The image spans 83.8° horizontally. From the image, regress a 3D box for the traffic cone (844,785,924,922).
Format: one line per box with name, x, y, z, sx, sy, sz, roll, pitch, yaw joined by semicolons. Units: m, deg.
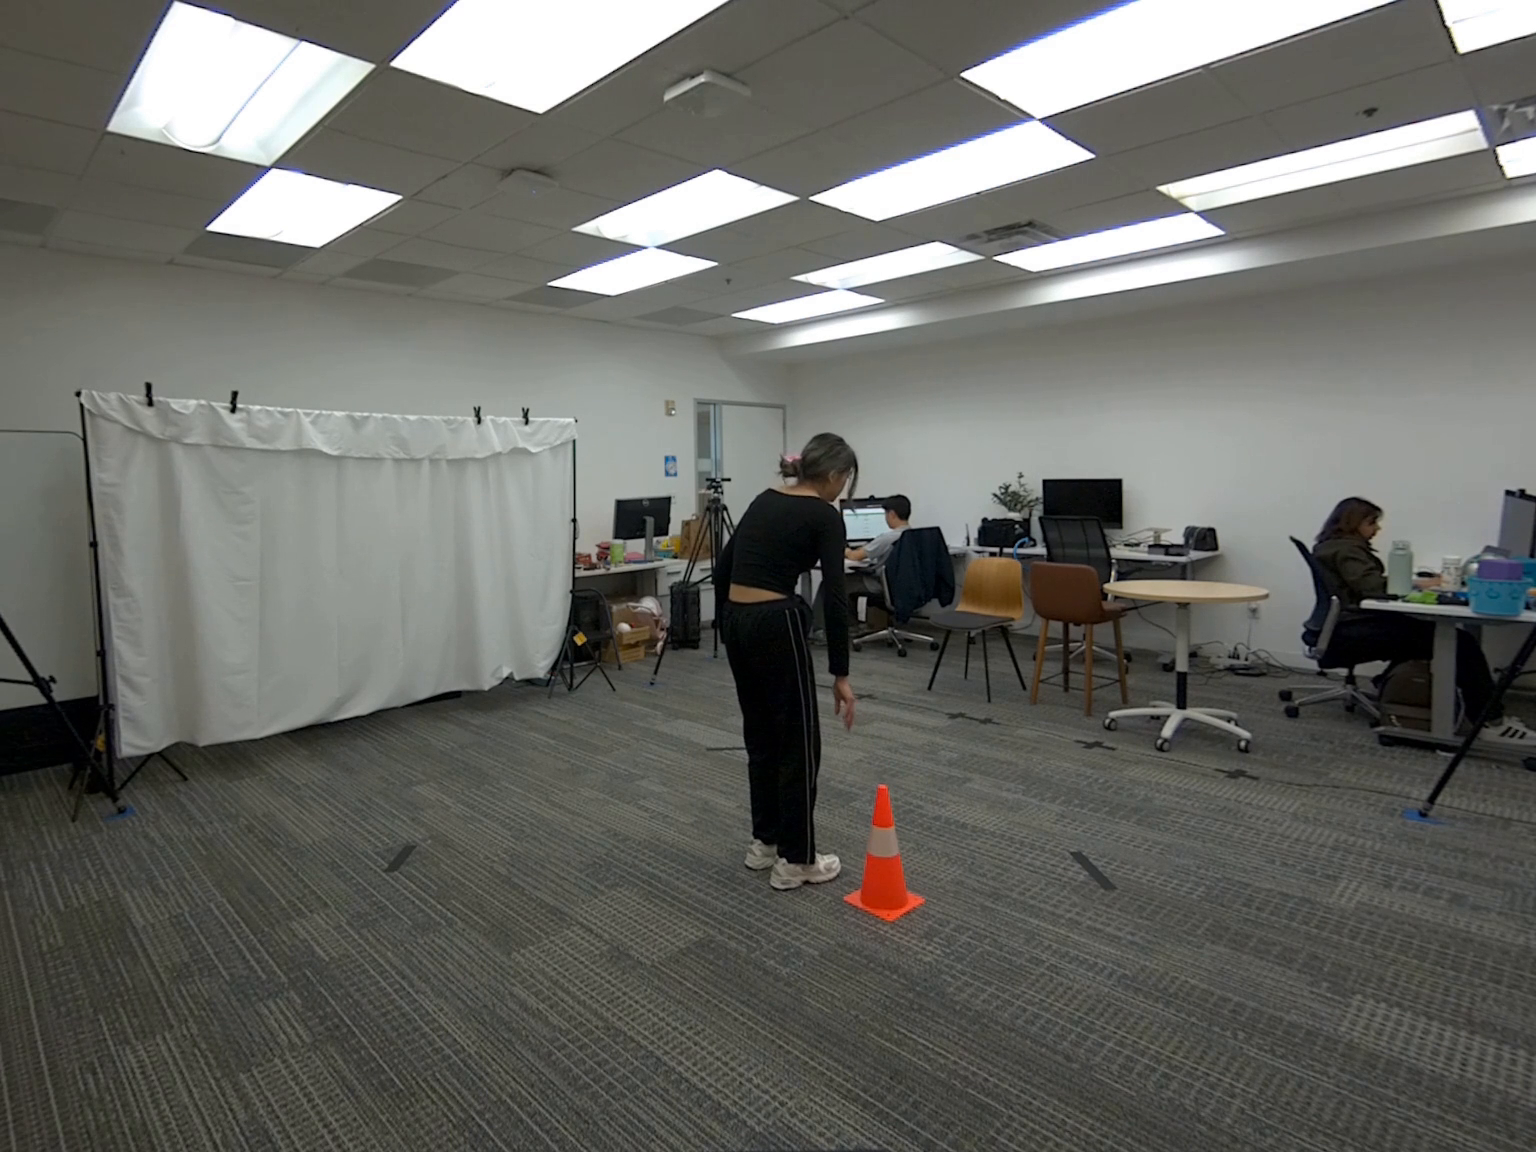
traffic cone;0.383;0.880;2.805;0.200;0.382;0.209;-4;6;-30
